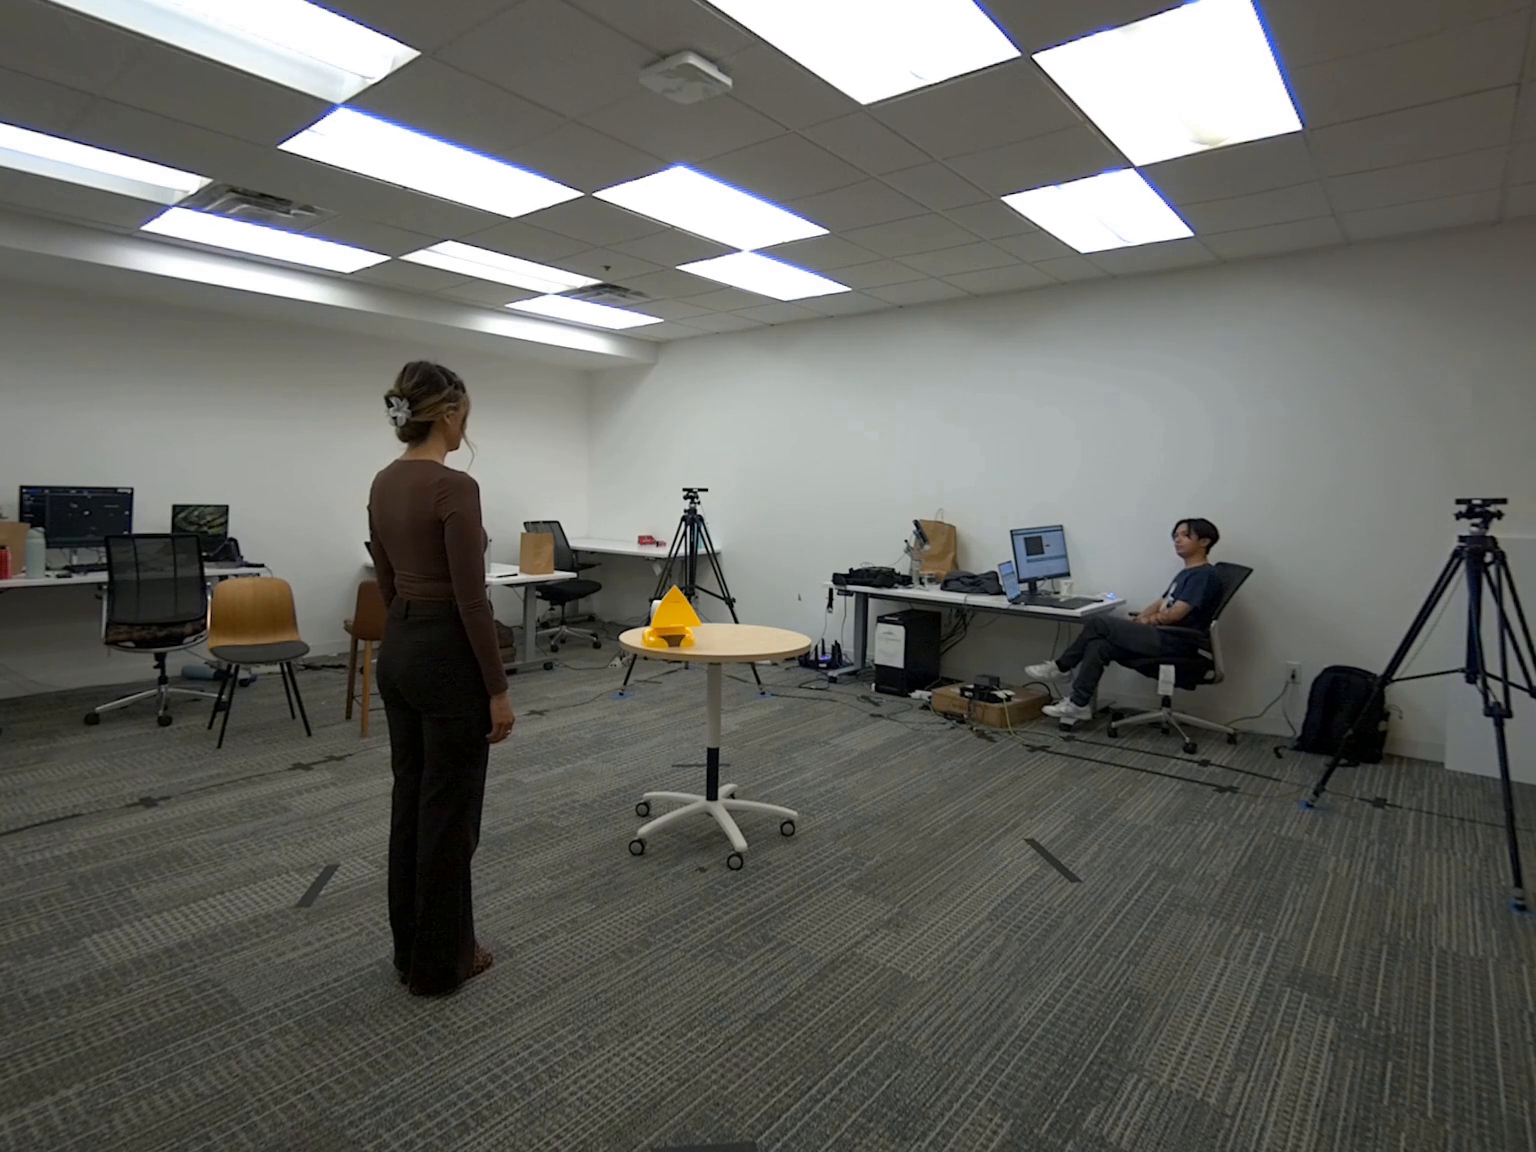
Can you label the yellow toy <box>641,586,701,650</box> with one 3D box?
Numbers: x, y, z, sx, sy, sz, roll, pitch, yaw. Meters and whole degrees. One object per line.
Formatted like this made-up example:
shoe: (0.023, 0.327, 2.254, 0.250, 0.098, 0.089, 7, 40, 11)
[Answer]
yellow toy: (-0.383, 0.142, 3.233, 0.200, 0.230, 0.198, -1, 4, -23)
